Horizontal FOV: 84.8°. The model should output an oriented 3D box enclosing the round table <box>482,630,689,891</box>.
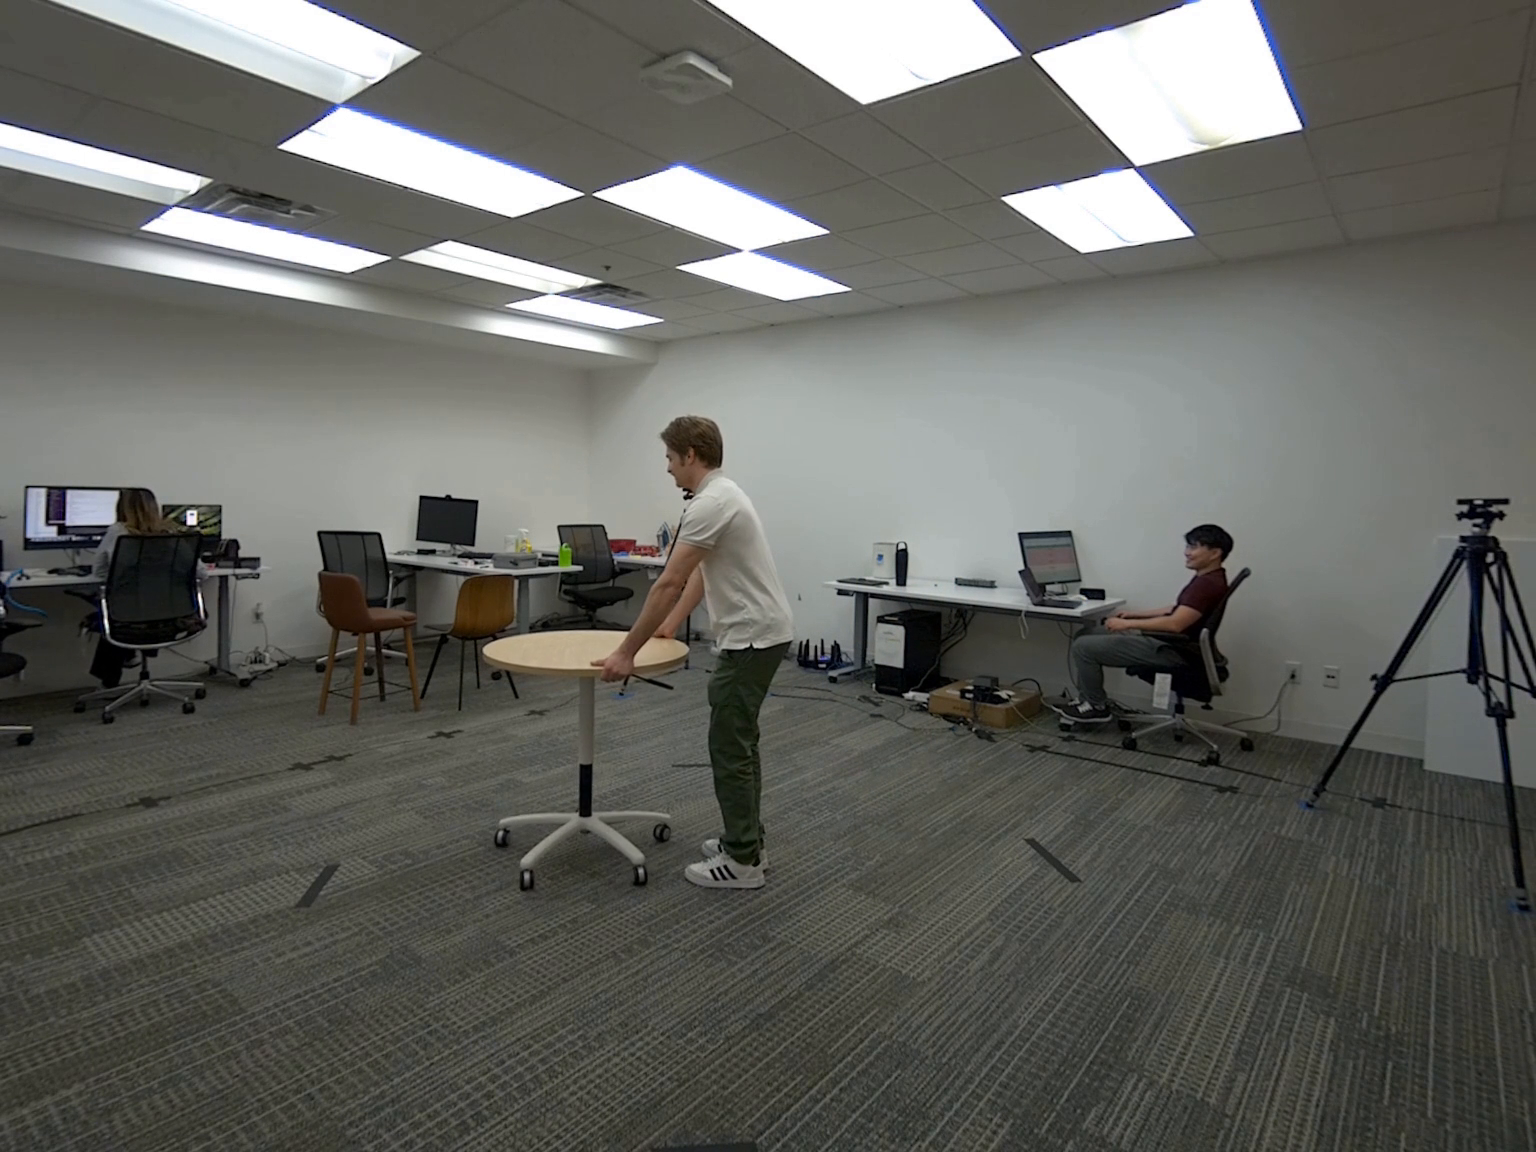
[{"bbox_3d":[-0.700,0.660,3.229,0.763,0.792,0.767,1,4,-2],"label":"round table"}]
